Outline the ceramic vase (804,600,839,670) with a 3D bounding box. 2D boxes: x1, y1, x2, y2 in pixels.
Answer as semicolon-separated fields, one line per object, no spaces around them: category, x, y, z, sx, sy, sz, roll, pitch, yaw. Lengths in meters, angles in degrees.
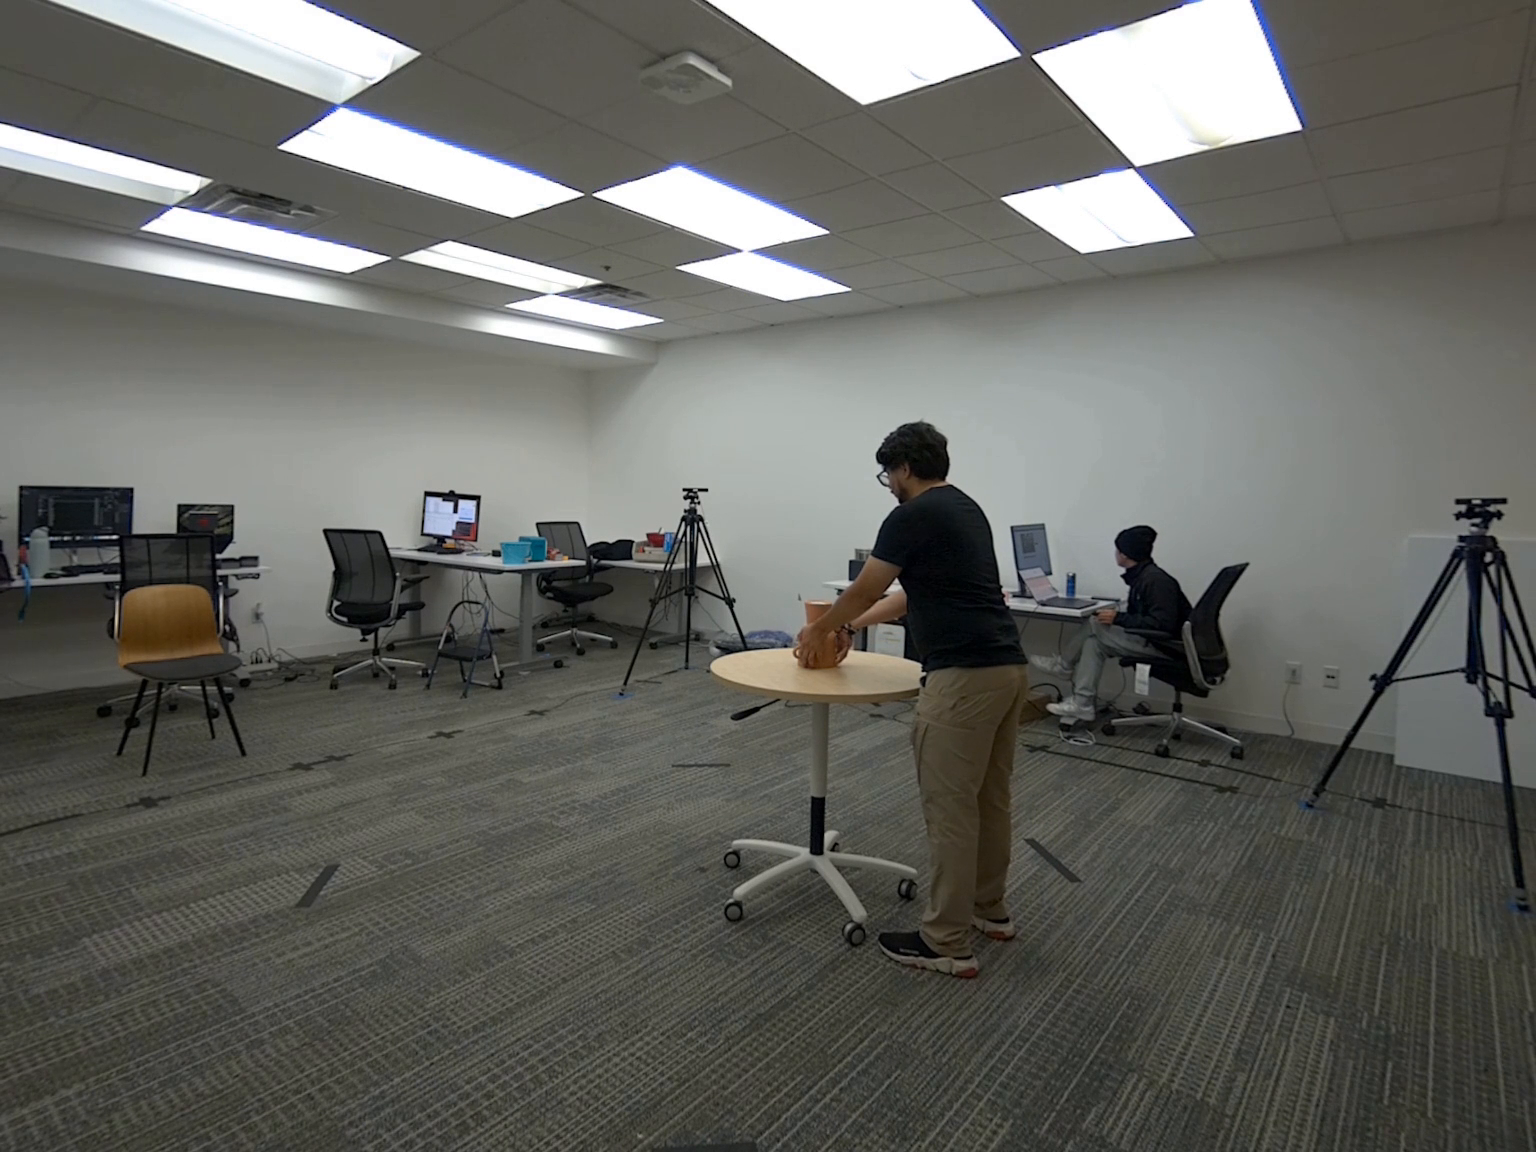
ceramic vase;0.176;0.199;2.968;0.137;0.219;0.156;3;4;19
